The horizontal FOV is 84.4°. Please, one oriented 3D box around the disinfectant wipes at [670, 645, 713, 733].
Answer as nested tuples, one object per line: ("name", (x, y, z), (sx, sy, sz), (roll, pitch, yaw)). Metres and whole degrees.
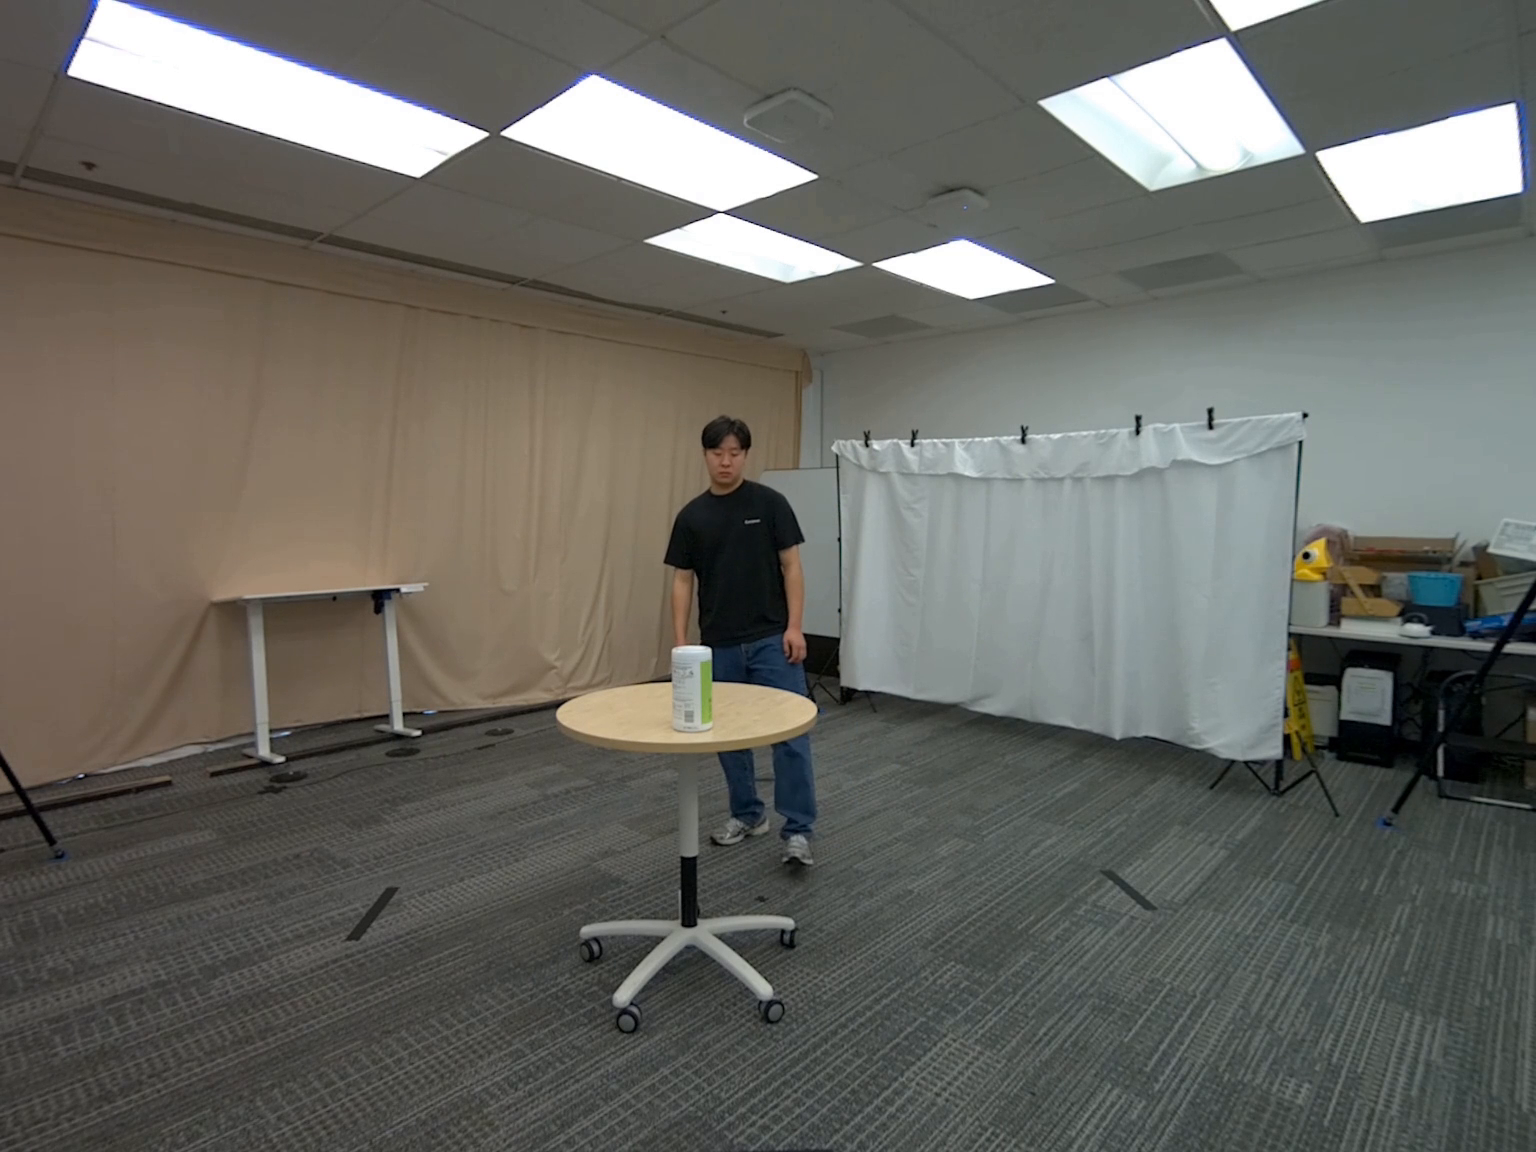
("disinfectant wipes", (-0.201, 0.304, 2.256), (0.118, 0.217, 0.118), (-4, 3, -2))
